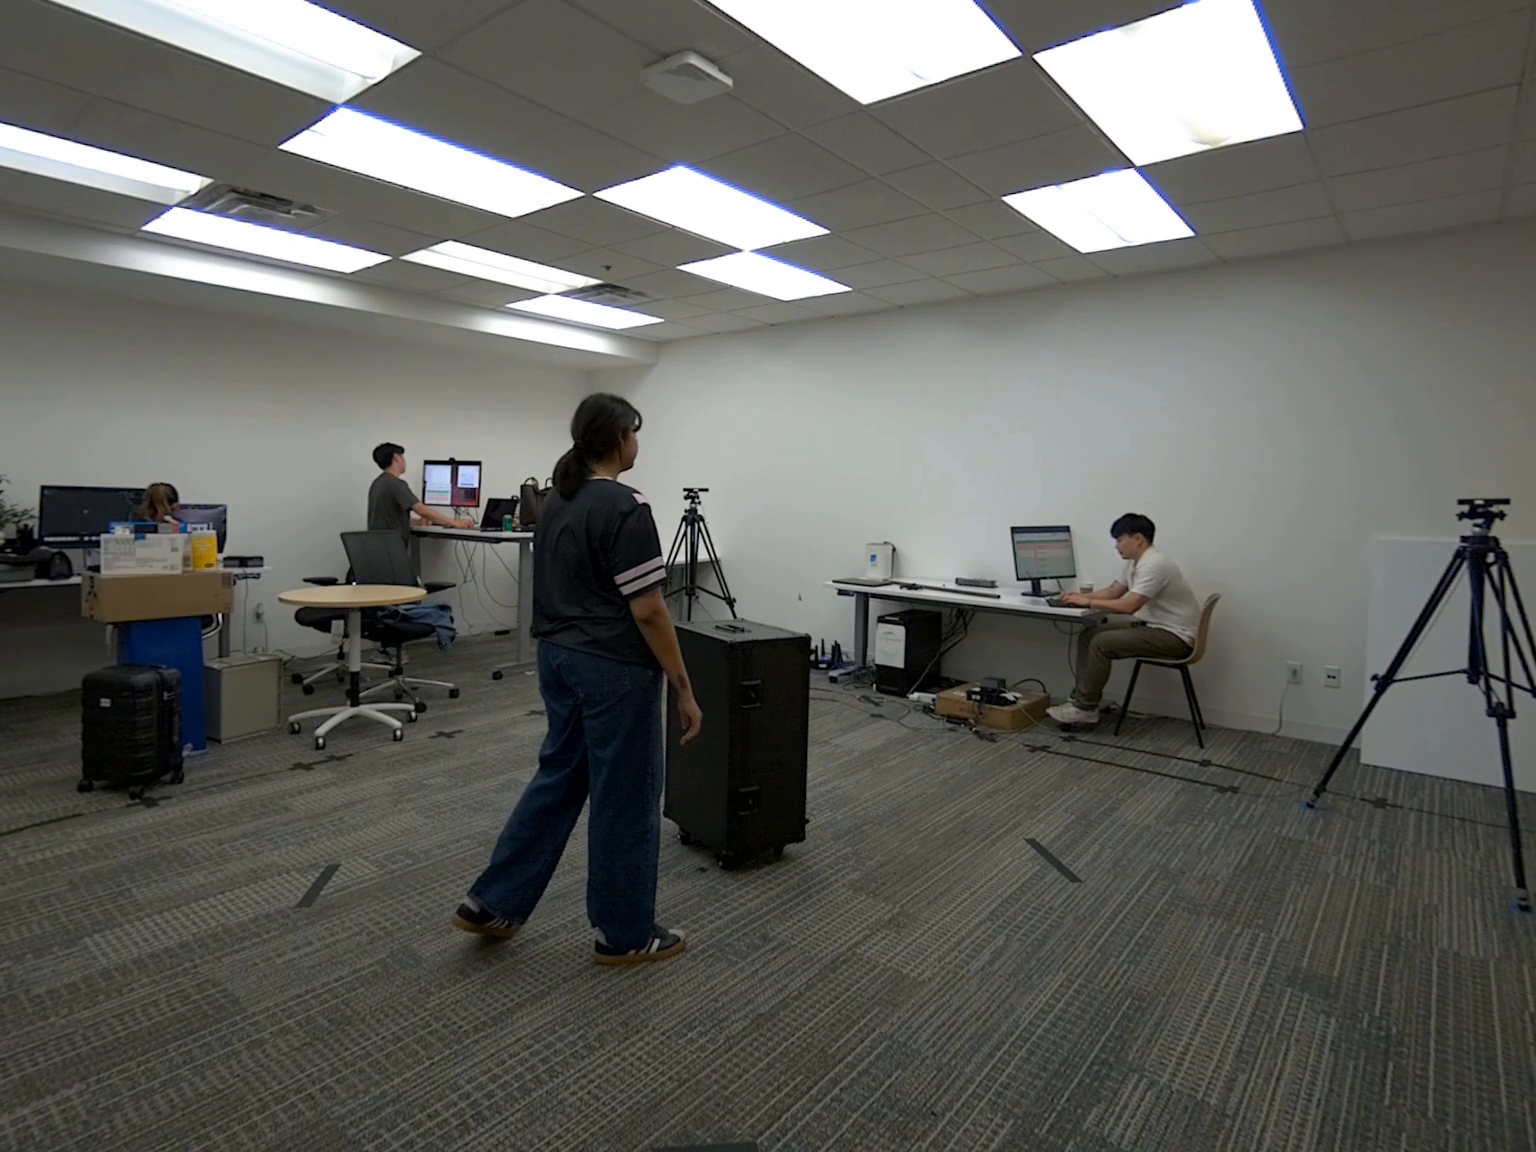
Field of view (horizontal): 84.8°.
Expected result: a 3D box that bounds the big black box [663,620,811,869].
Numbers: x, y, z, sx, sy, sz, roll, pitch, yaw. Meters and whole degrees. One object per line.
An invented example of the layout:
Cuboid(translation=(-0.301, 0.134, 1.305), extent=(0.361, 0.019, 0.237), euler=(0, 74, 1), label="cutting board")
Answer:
Cuboid(translation=(-0.142, 0.629, 3.311), extent=(0.374, 0.866, 0.540), euler=(0, 3, -33), label="big black box")
